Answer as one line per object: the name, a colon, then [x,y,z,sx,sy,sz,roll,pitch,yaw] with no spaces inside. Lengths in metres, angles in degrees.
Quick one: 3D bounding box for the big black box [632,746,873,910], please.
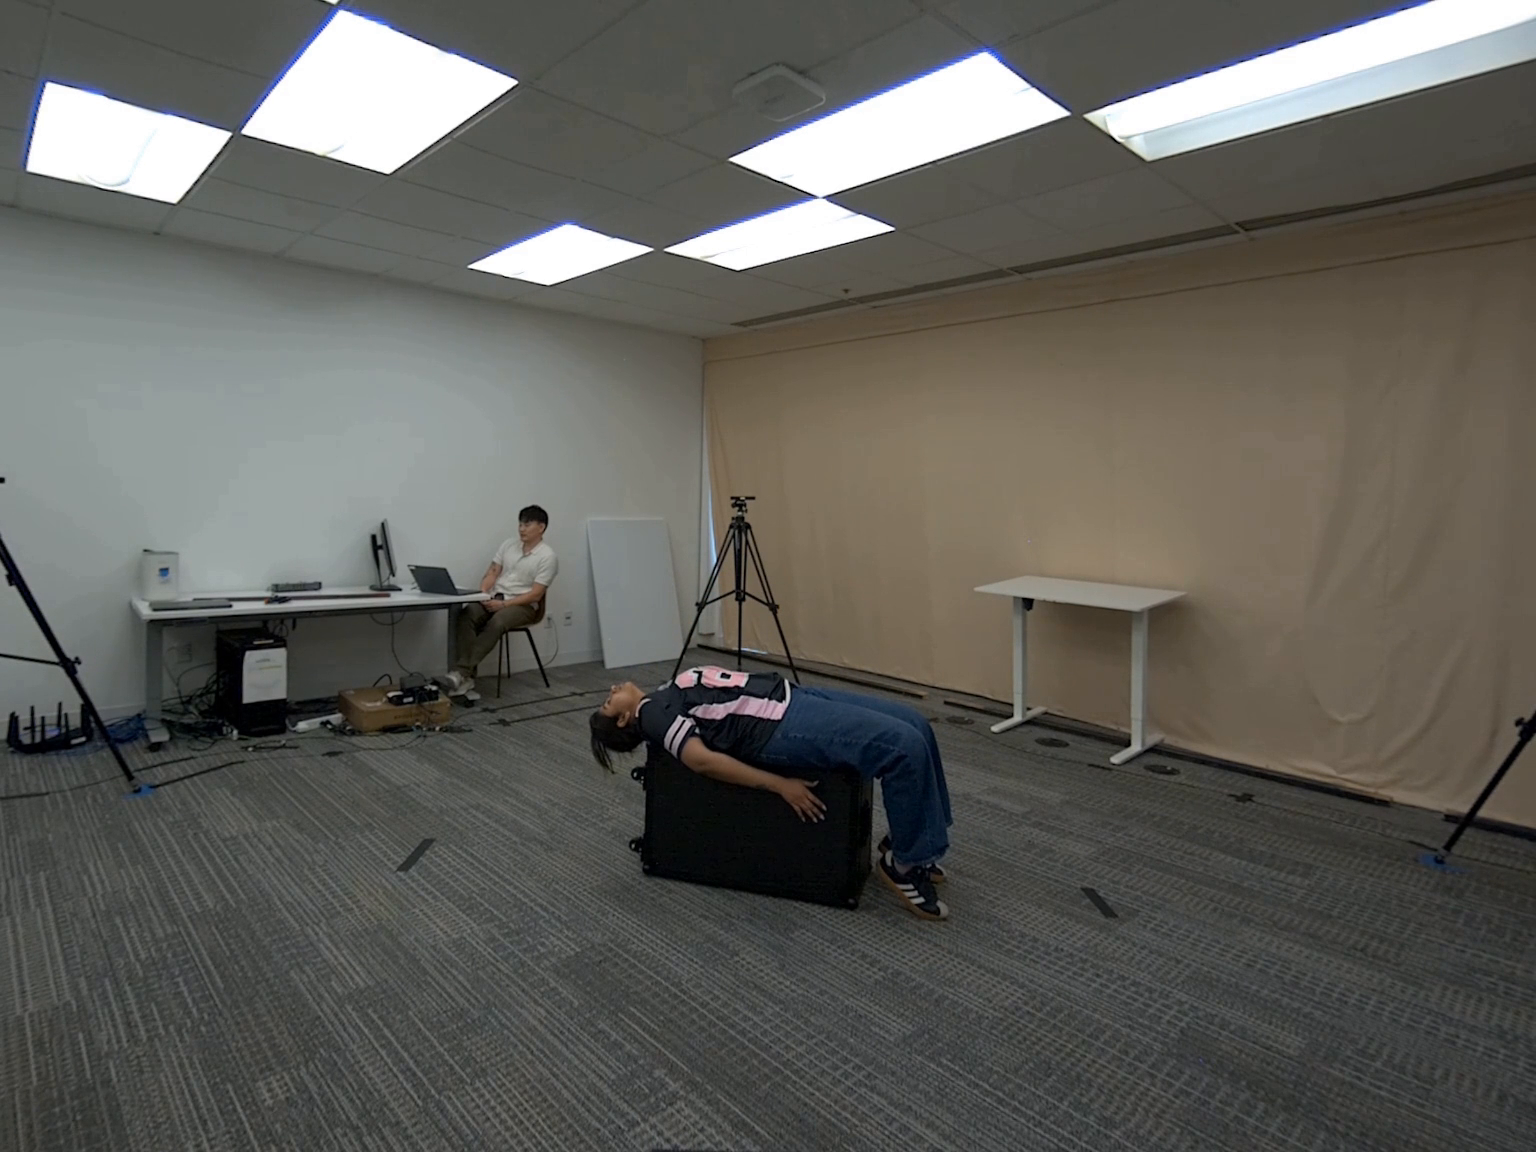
big black box: [-0.068,0.847,3.130,0.881,0.522,0.381,3,5,18]
